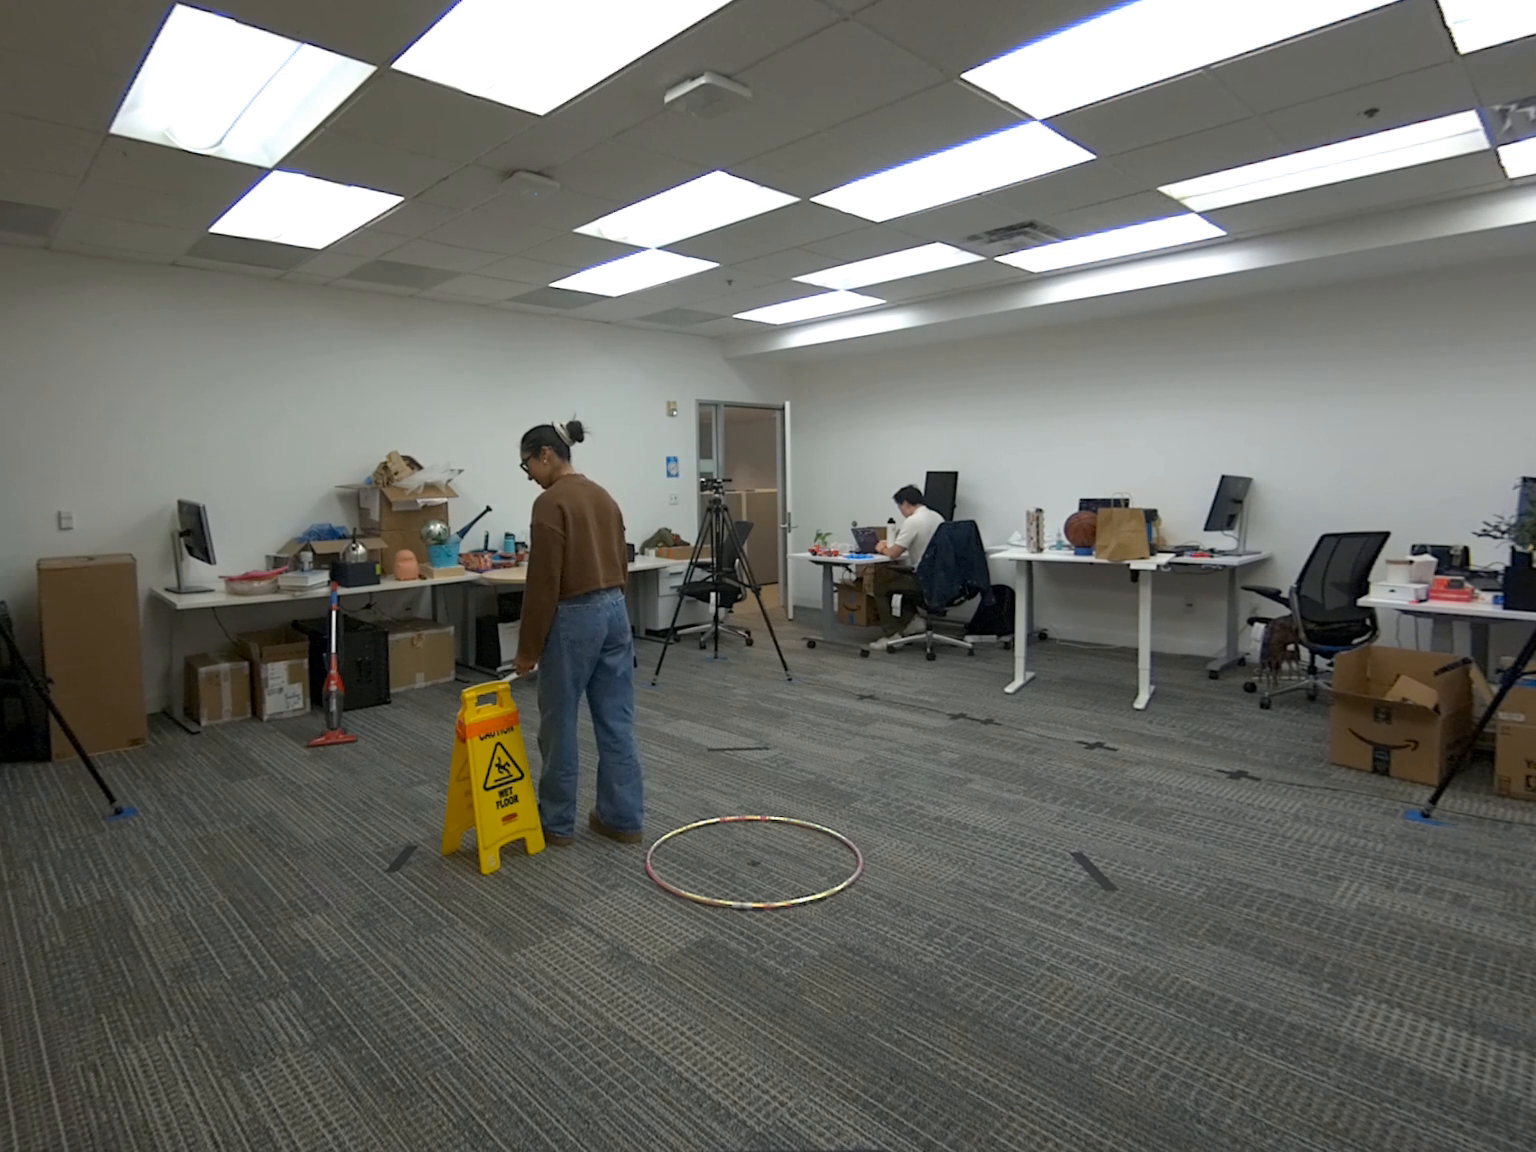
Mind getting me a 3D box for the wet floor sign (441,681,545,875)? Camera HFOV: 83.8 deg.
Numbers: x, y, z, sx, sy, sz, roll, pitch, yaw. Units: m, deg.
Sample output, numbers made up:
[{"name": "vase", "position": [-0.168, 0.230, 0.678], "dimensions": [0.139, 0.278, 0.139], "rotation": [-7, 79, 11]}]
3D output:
[{"name": "wet floor sign", "position": [-1.054, 0.729, 3.223], "dimensions": [0.298, 0.644, 0.275], "rotation": [2, 5, 39]}]
